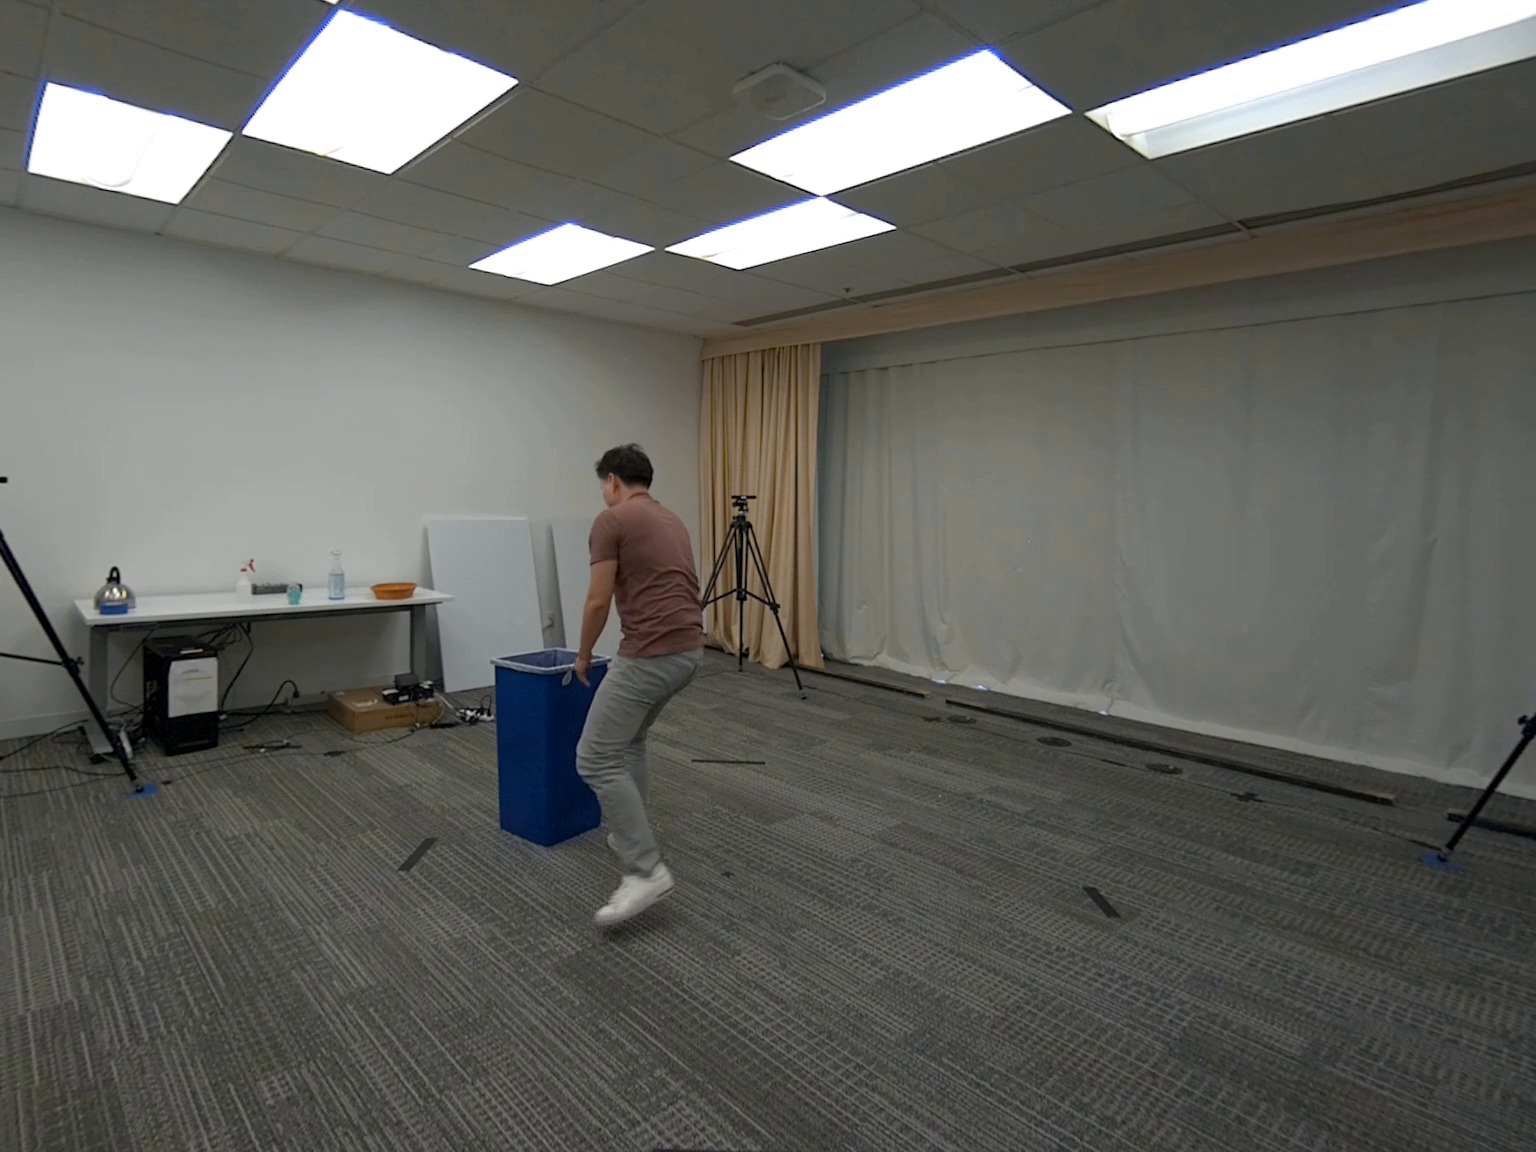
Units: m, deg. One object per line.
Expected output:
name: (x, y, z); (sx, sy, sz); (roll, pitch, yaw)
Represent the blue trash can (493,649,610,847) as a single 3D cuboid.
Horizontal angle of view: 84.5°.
blue trash can: (-0.914, 0.693, 3.498); (0.383, 0.712, 0.370); (4, 4, 36)
